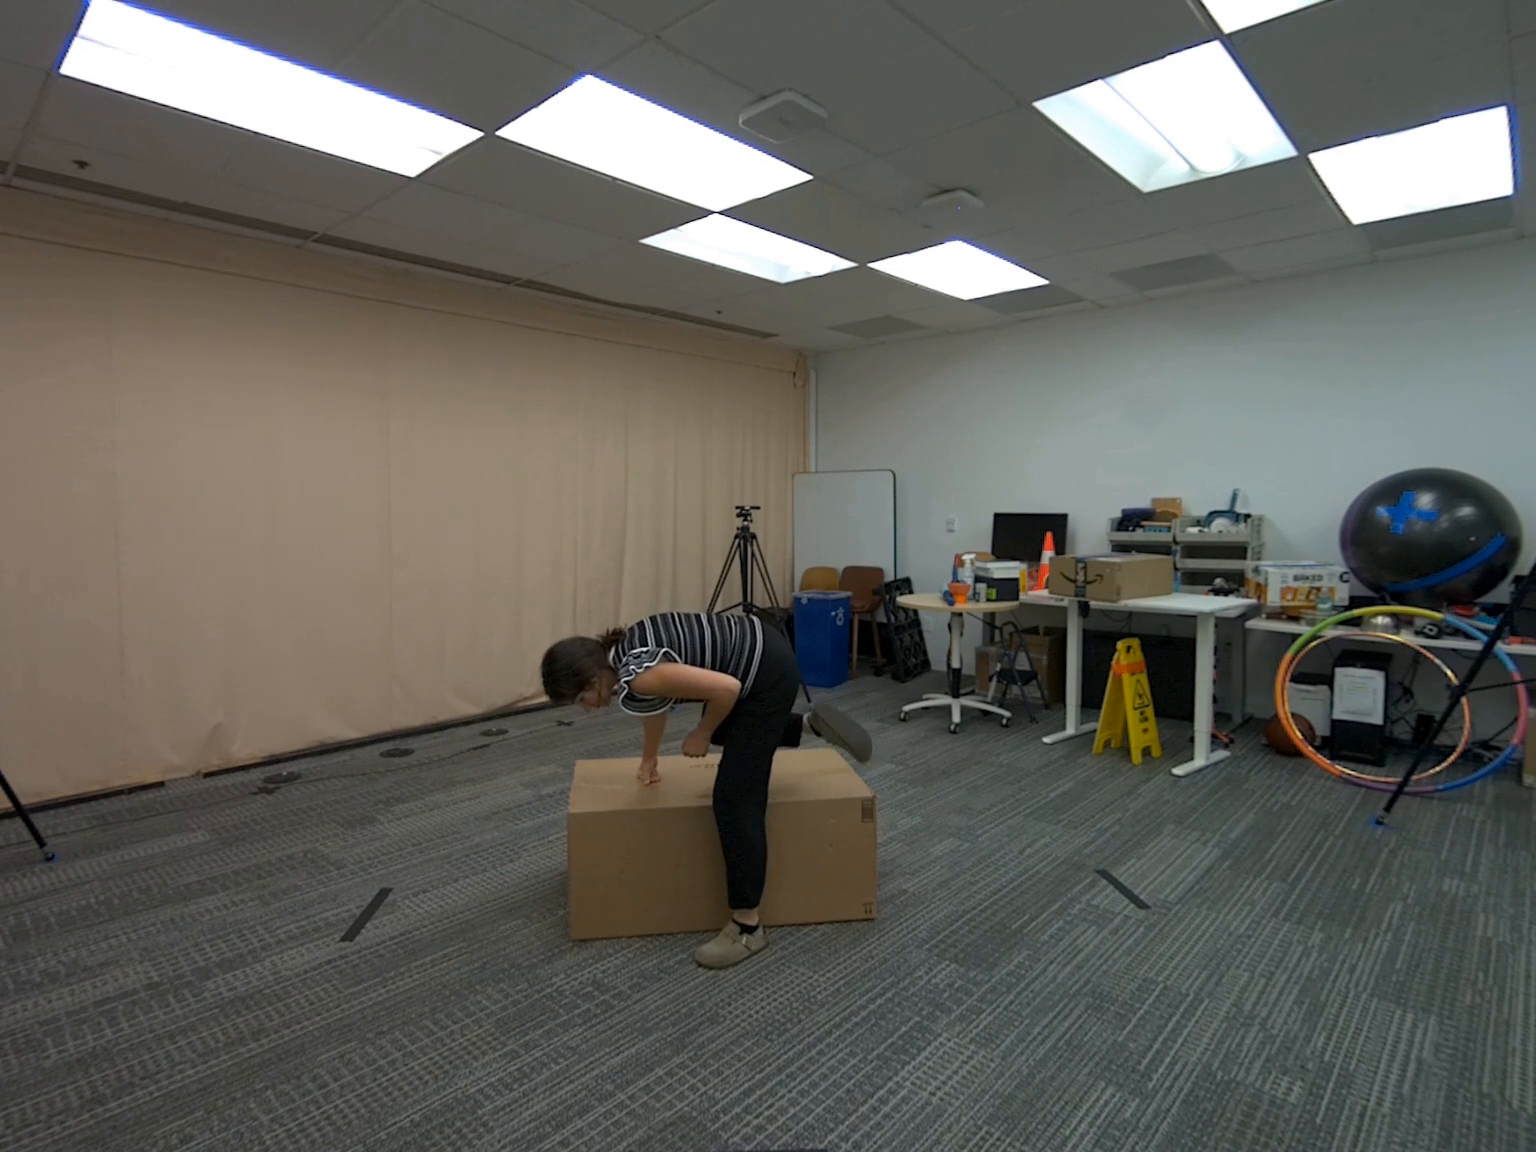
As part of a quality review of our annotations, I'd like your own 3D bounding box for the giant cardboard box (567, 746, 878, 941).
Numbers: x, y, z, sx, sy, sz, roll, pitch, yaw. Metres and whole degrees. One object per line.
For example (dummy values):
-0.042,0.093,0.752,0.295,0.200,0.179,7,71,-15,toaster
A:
-0.188,0.934,3.033,1.018,0.425,0.584,-1,4,-8,giant cardboard box
